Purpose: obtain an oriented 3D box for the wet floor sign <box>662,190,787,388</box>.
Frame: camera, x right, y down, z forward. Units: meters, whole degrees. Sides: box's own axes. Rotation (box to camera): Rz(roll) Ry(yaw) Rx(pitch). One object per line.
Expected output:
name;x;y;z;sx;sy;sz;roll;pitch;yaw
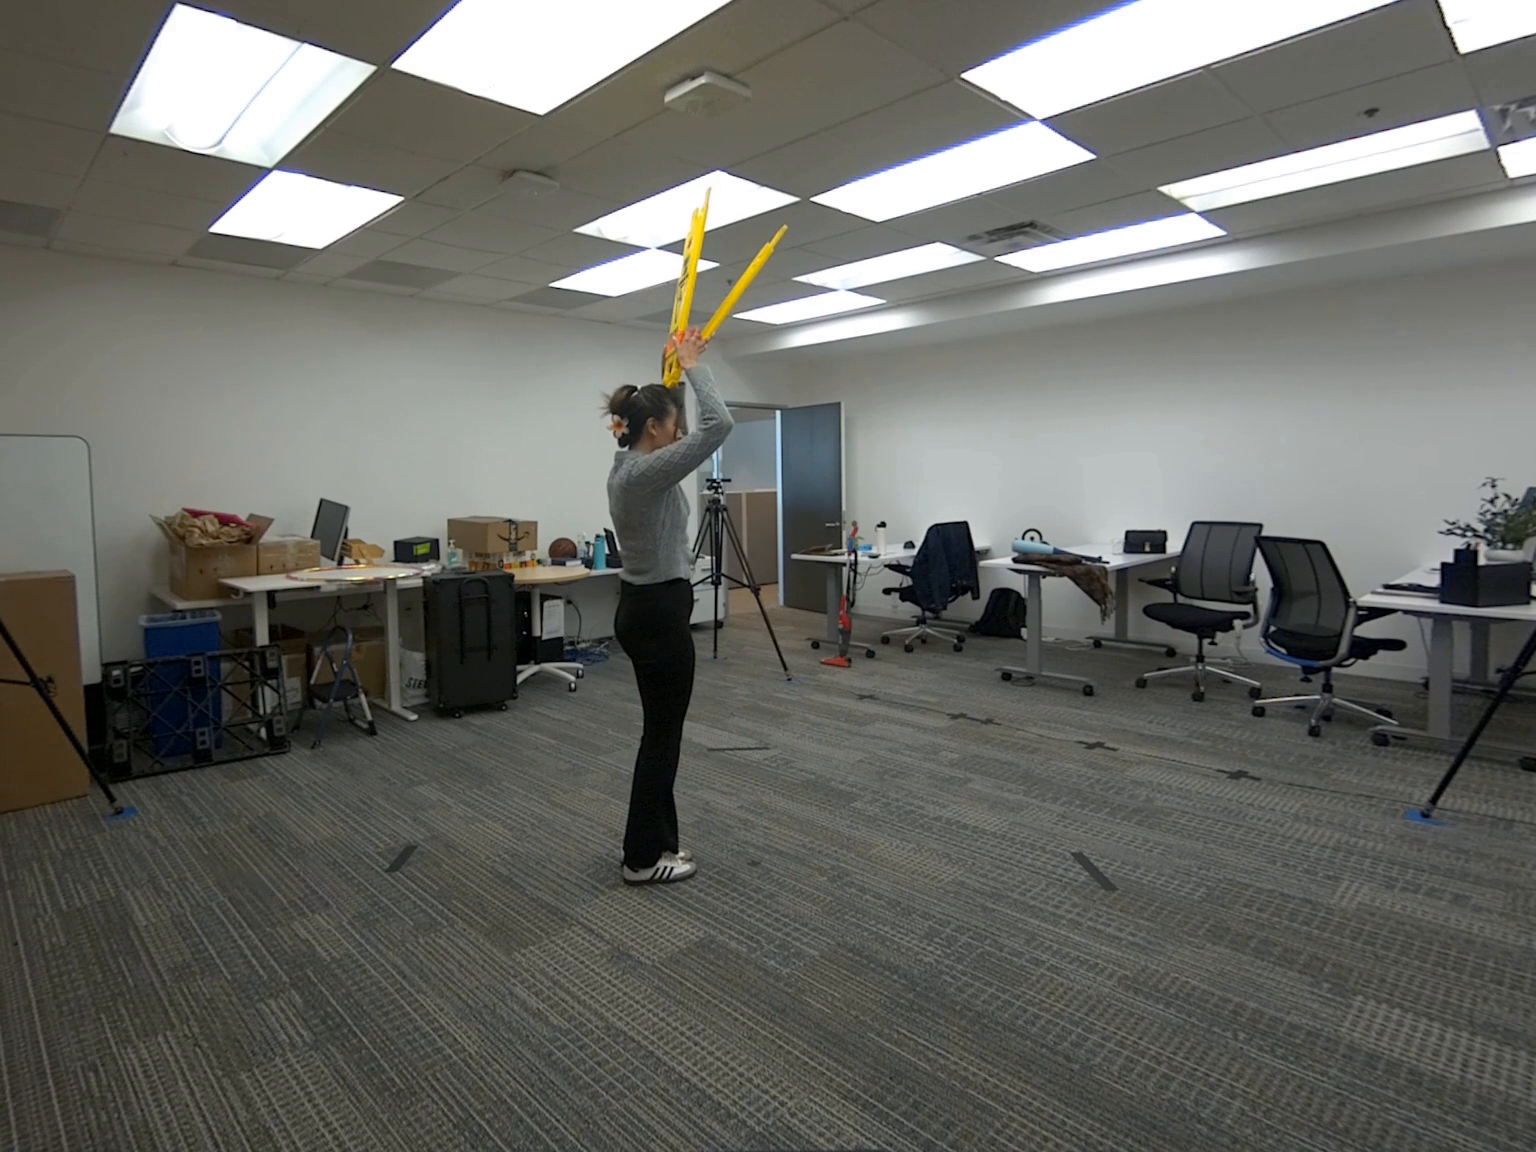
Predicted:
wet floor sign;-0.221;-0.950;2.961;0.285;0.647;0.287;24;-3;-15
